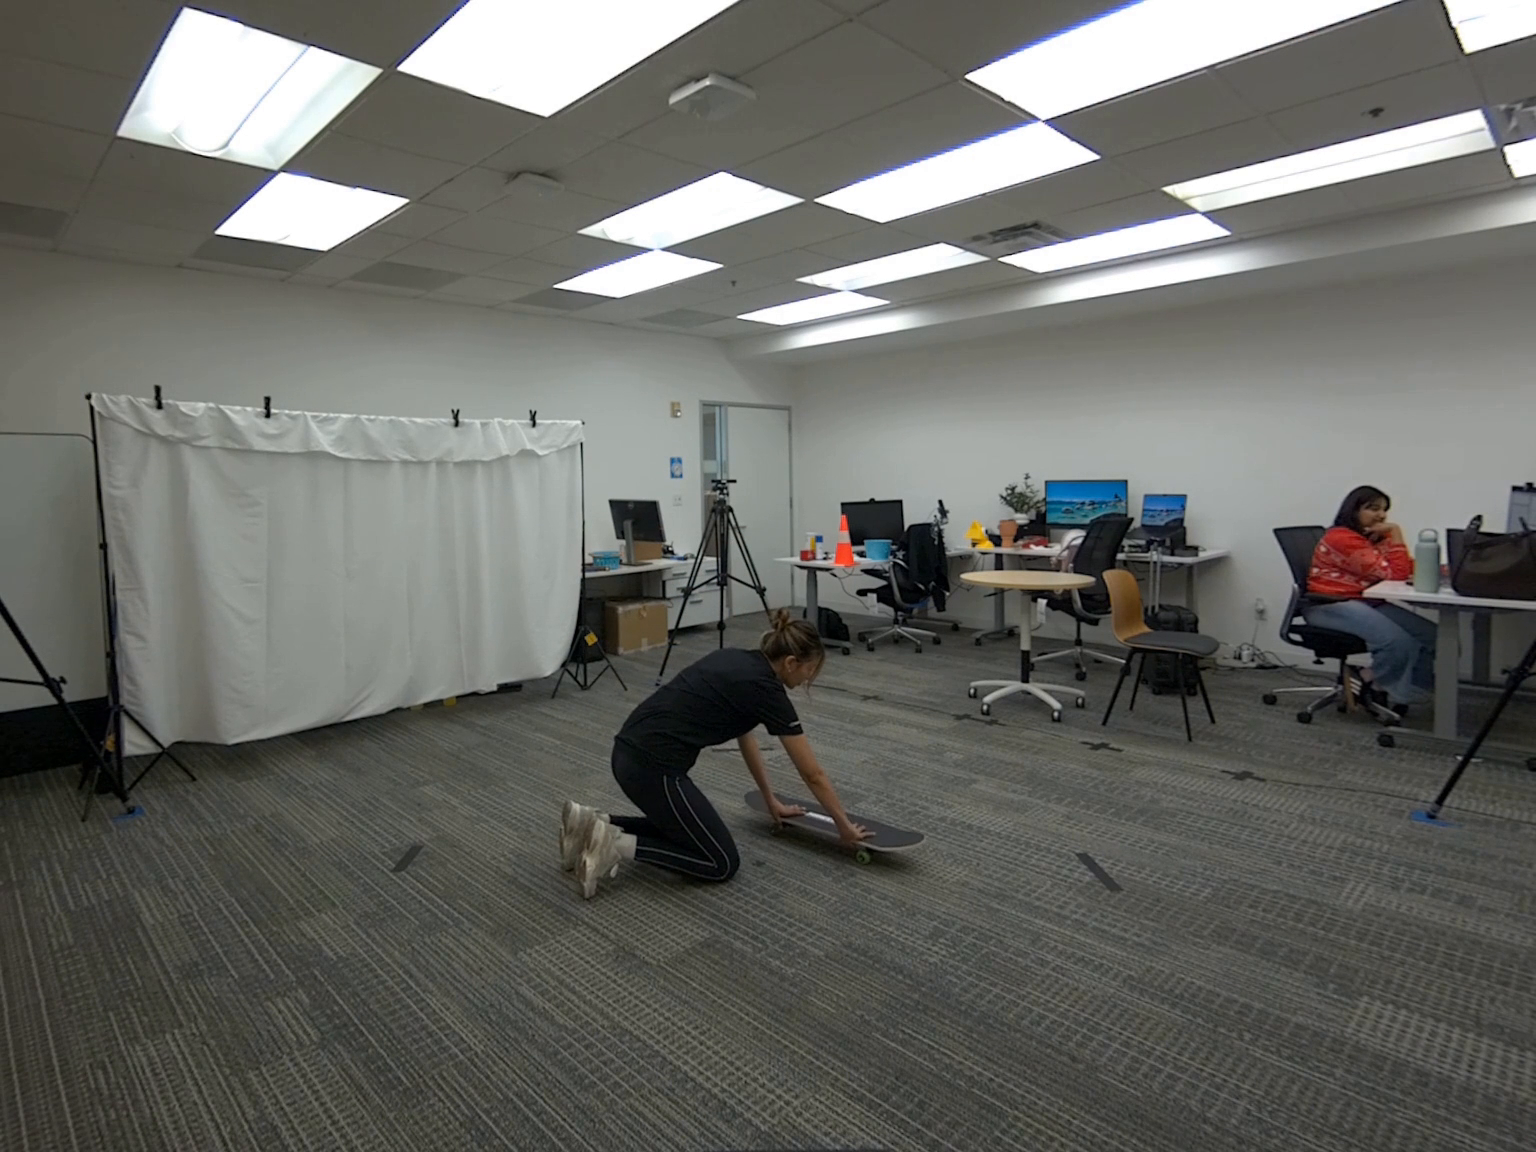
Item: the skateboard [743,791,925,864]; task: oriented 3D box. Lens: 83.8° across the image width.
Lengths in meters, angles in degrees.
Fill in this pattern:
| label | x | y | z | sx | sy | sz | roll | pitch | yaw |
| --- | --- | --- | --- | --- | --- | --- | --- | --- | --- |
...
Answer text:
| label | x | y | z | sx | sy | sz | roll | pitch | yaw |
| --- | --- | --- | --- | --- | --- | --- | --- | --- | --- |
| skateboard | 0.236 | 0.964 | 3.271 | 0.809 | 0.110 | 0.188 | 4 | 8 | 40 |
